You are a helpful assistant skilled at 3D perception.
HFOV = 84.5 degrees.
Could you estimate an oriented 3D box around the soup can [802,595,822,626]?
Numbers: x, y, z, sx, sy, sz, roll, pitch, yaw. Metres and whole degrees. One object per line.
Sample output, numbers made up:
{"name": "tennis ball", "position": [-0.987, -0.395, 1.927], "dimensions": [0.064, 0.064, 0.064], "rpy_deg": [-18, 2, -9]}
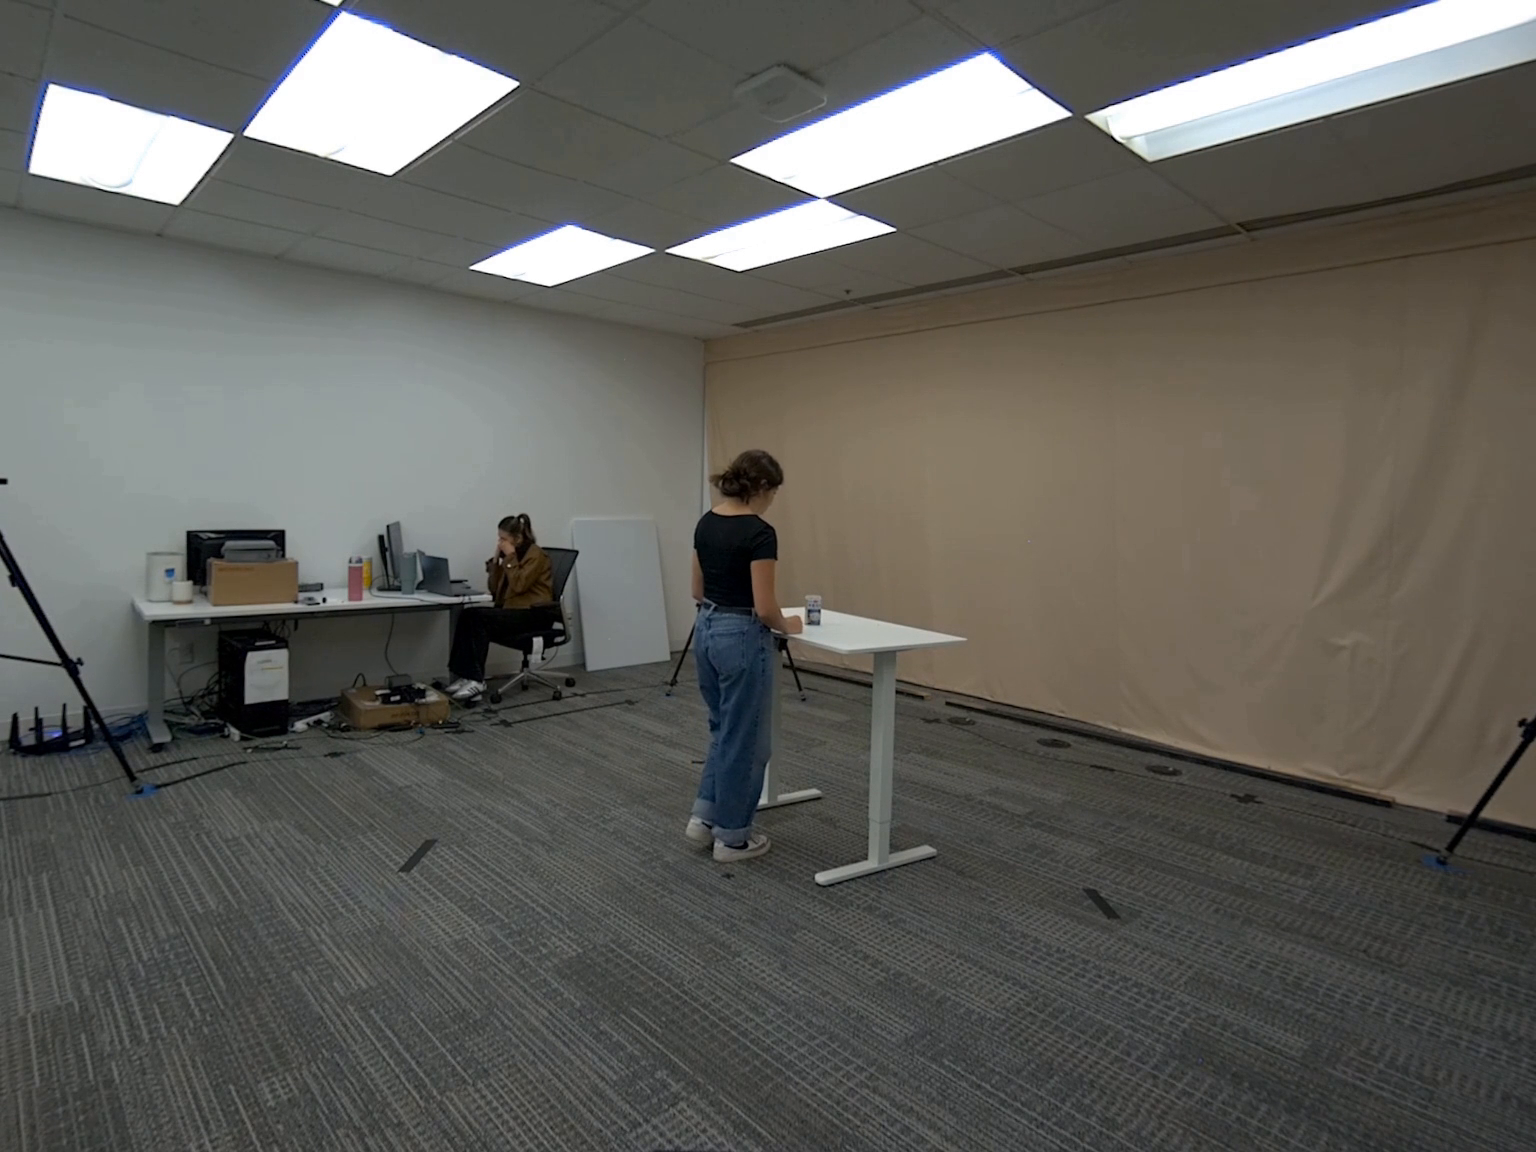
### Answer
{"name": "soup can", "position": [0.182, 0.145, 3.474], "dimensions": [0.067, 0.121, 0.067], "rpy_deg": [3, 2, -2]}
